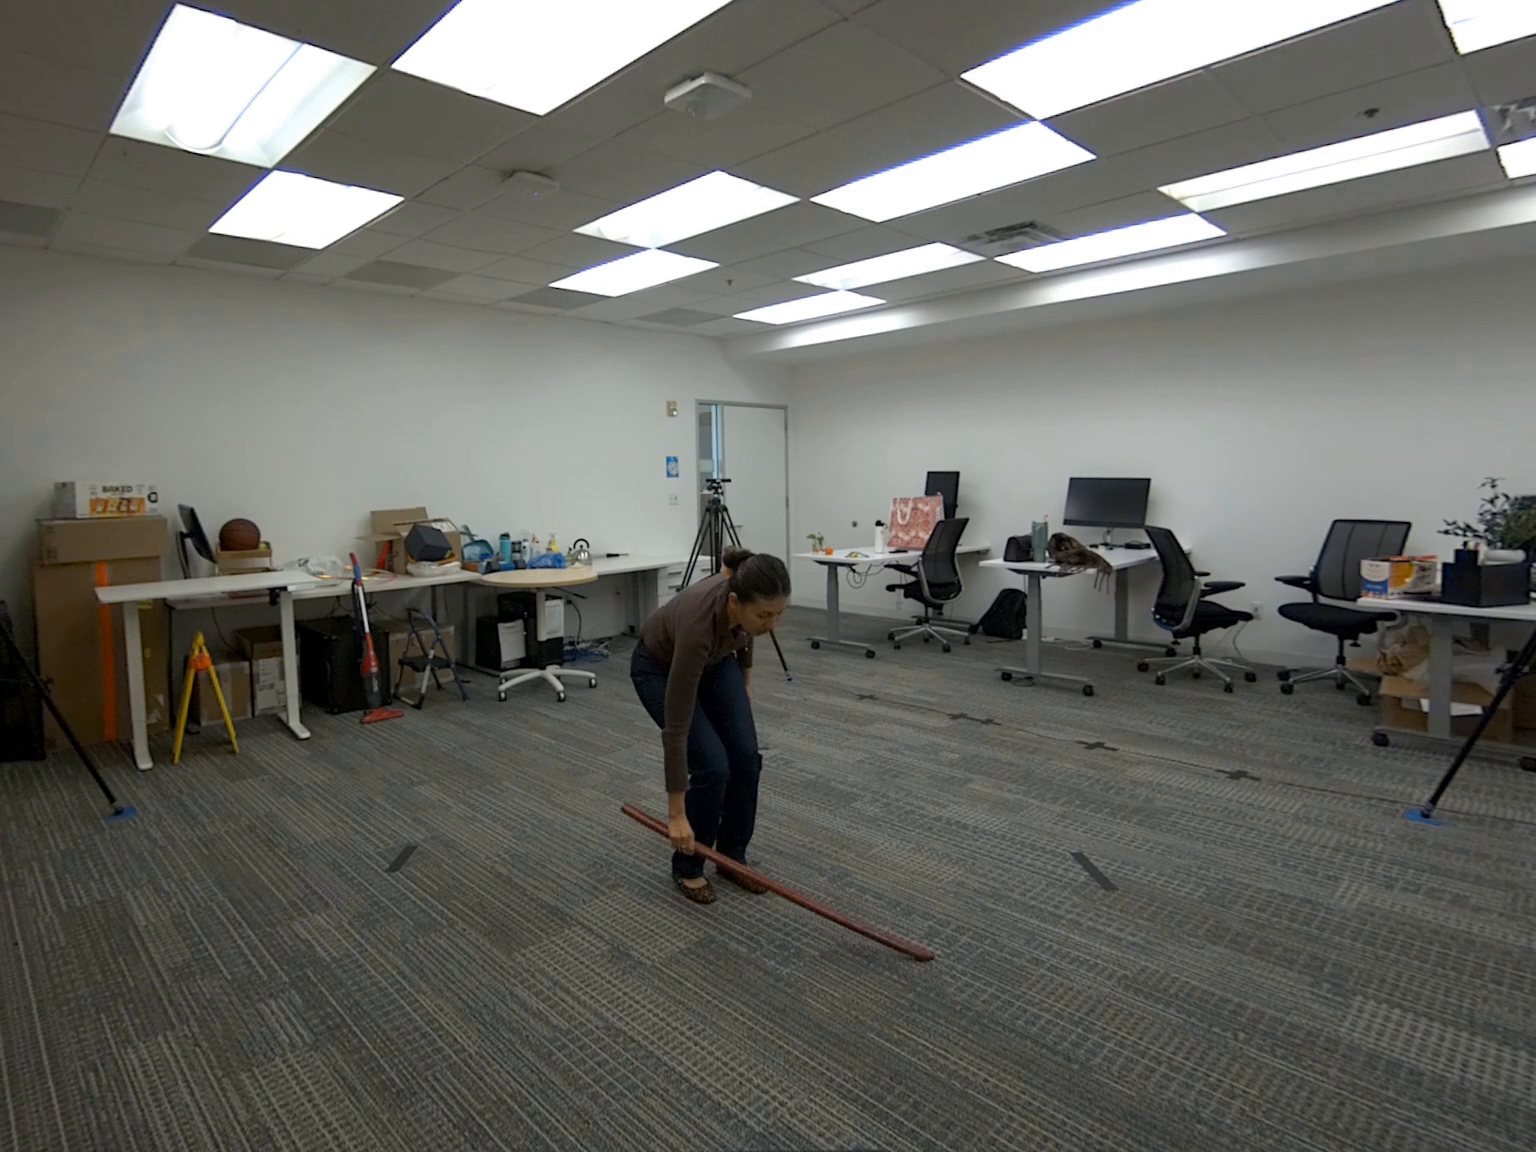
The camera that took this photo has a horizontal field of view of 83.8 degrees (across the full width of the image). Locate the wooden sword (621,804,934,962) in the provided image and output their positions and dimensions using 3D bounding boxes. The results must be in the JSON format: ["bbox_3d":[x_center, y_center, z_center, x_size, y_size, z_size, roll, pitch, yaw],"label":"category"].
[{"bbox_3d":[0.006,0.920,2.591,1.042,0.050,0.024,20,44,13],"label":"wooden sword"}]
